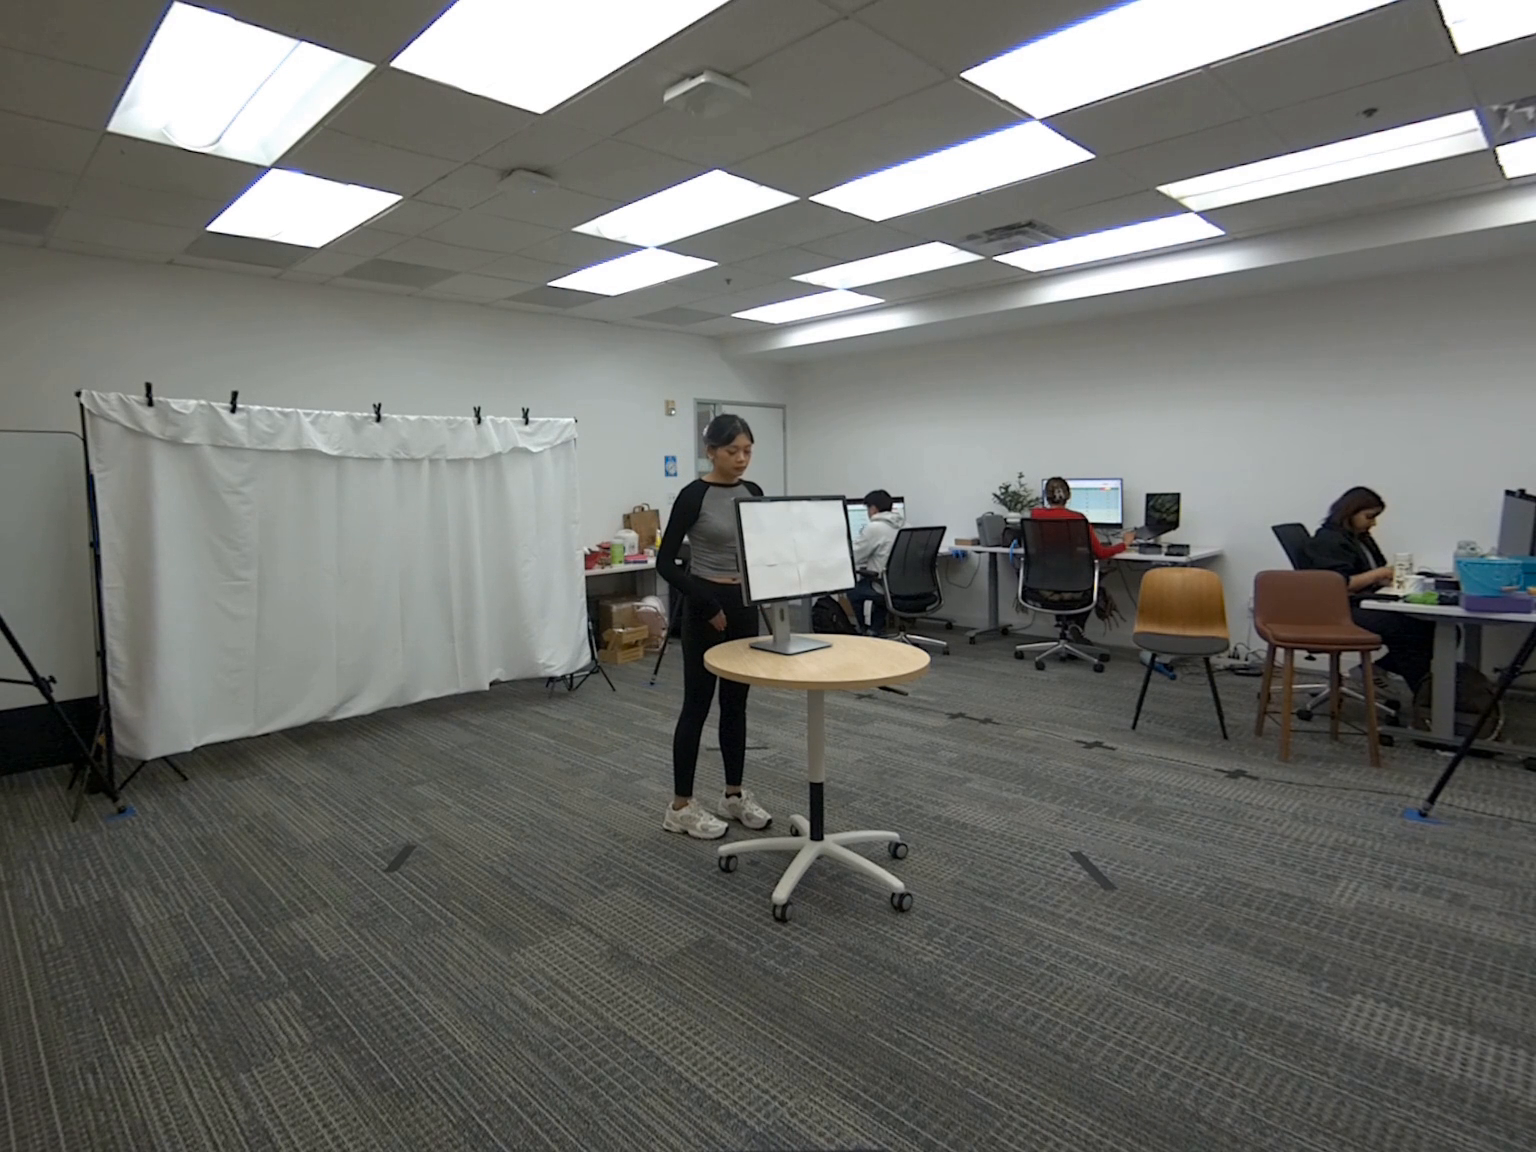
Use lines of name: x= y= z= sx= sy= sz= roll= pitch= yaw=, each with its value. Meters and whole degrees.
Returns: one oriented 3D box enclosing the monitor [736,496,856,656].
monitor: x=0.083 y=-0.011 z=3.047 sx=0.525 sy=0.520 sz=0.193 roll=-6 pitch=8 yaw=-44
